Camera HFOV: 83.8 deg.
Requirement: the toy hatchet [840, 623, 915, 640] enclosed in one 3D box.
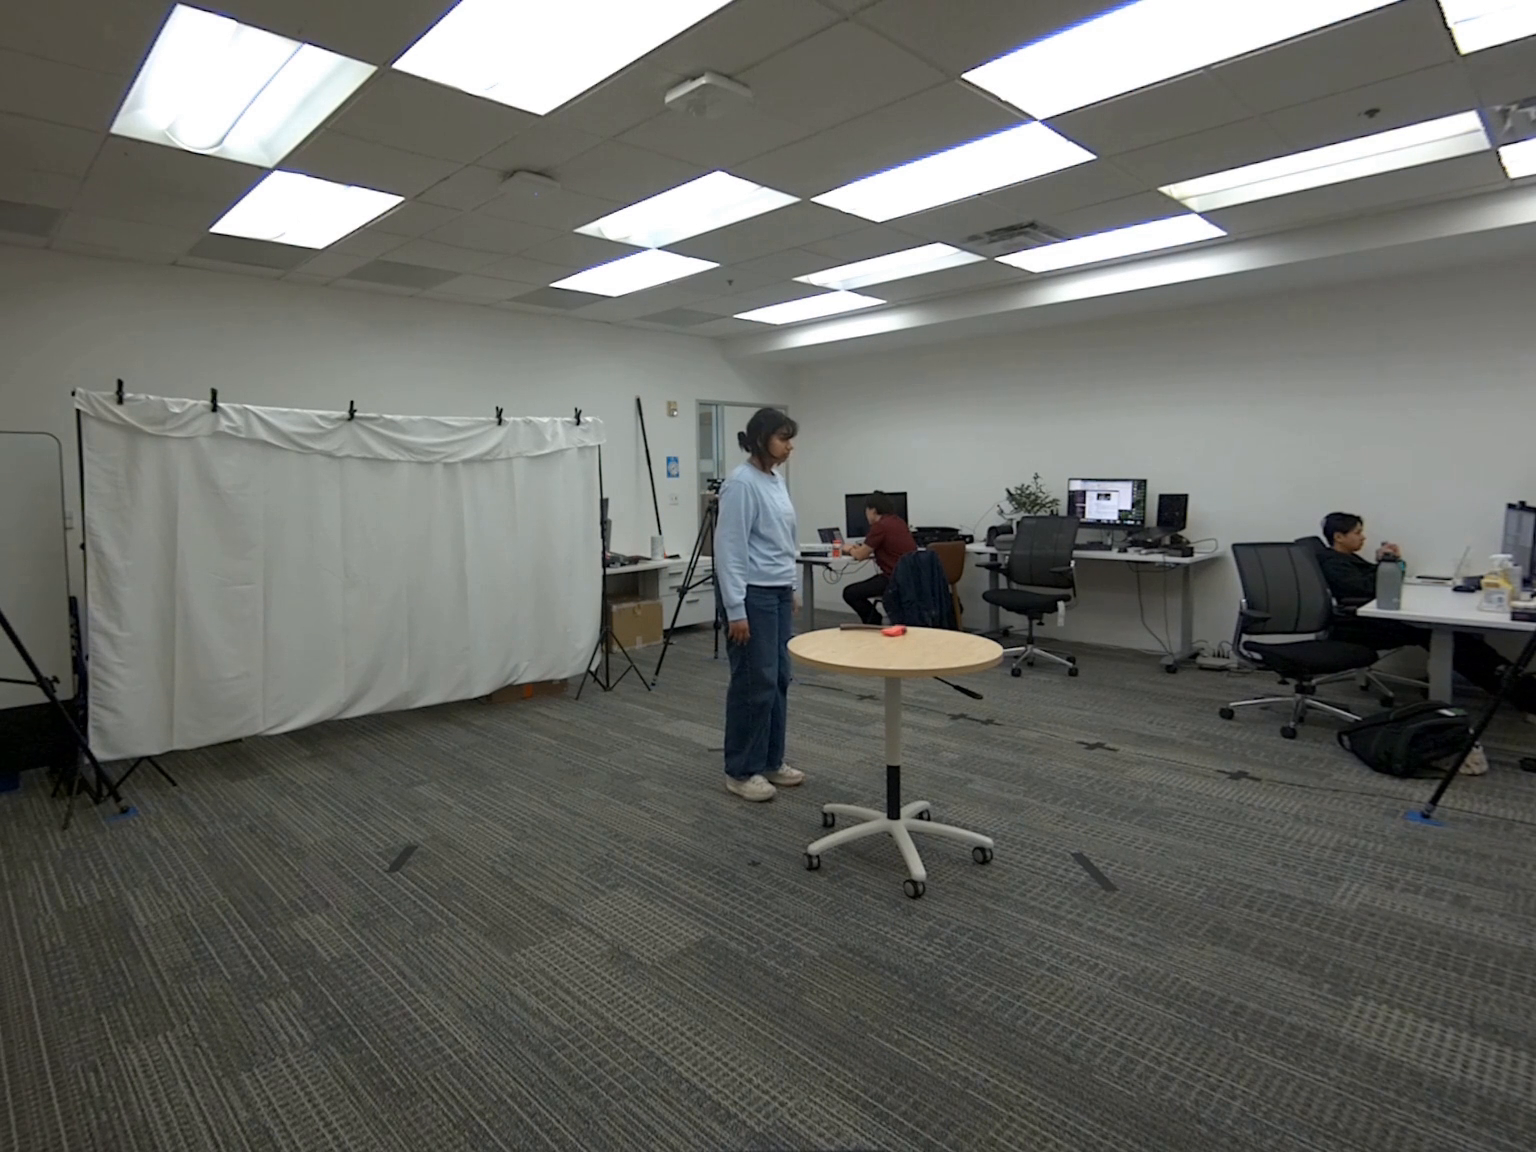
[{"bbox_3d":[0.427,0.212,3.341,0.274,0.029,0.130,-1,11,17],"label":"toy hatchet"}]
